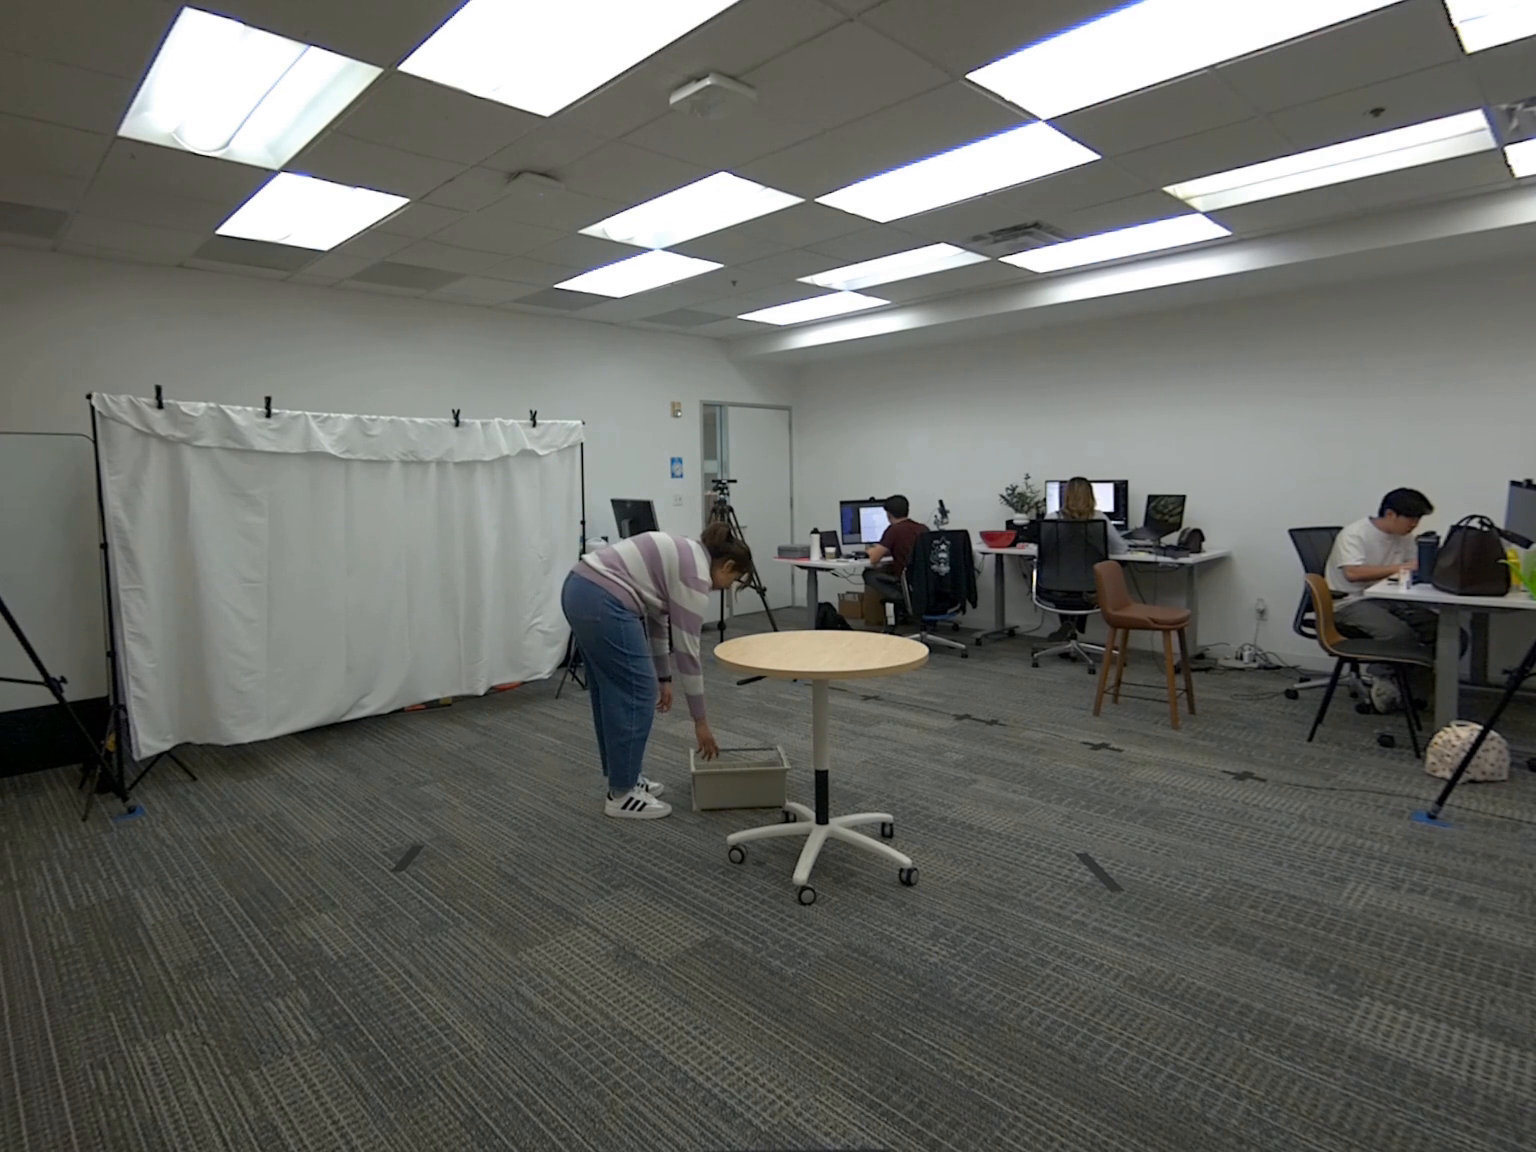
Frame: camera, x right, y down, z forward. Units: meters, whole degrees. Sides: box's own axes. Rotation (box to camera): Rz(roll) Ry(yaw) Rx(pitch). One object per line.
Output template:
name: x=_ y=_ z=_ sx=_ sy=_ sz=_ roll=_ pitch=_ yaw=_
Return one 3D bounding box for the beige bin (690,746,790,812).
beige bin: x=-0.135 y=0.878 z=3.787 sx=0.420 sy=0.188 sz=0.381 roll=-1 pitch=8 yaw=-5
